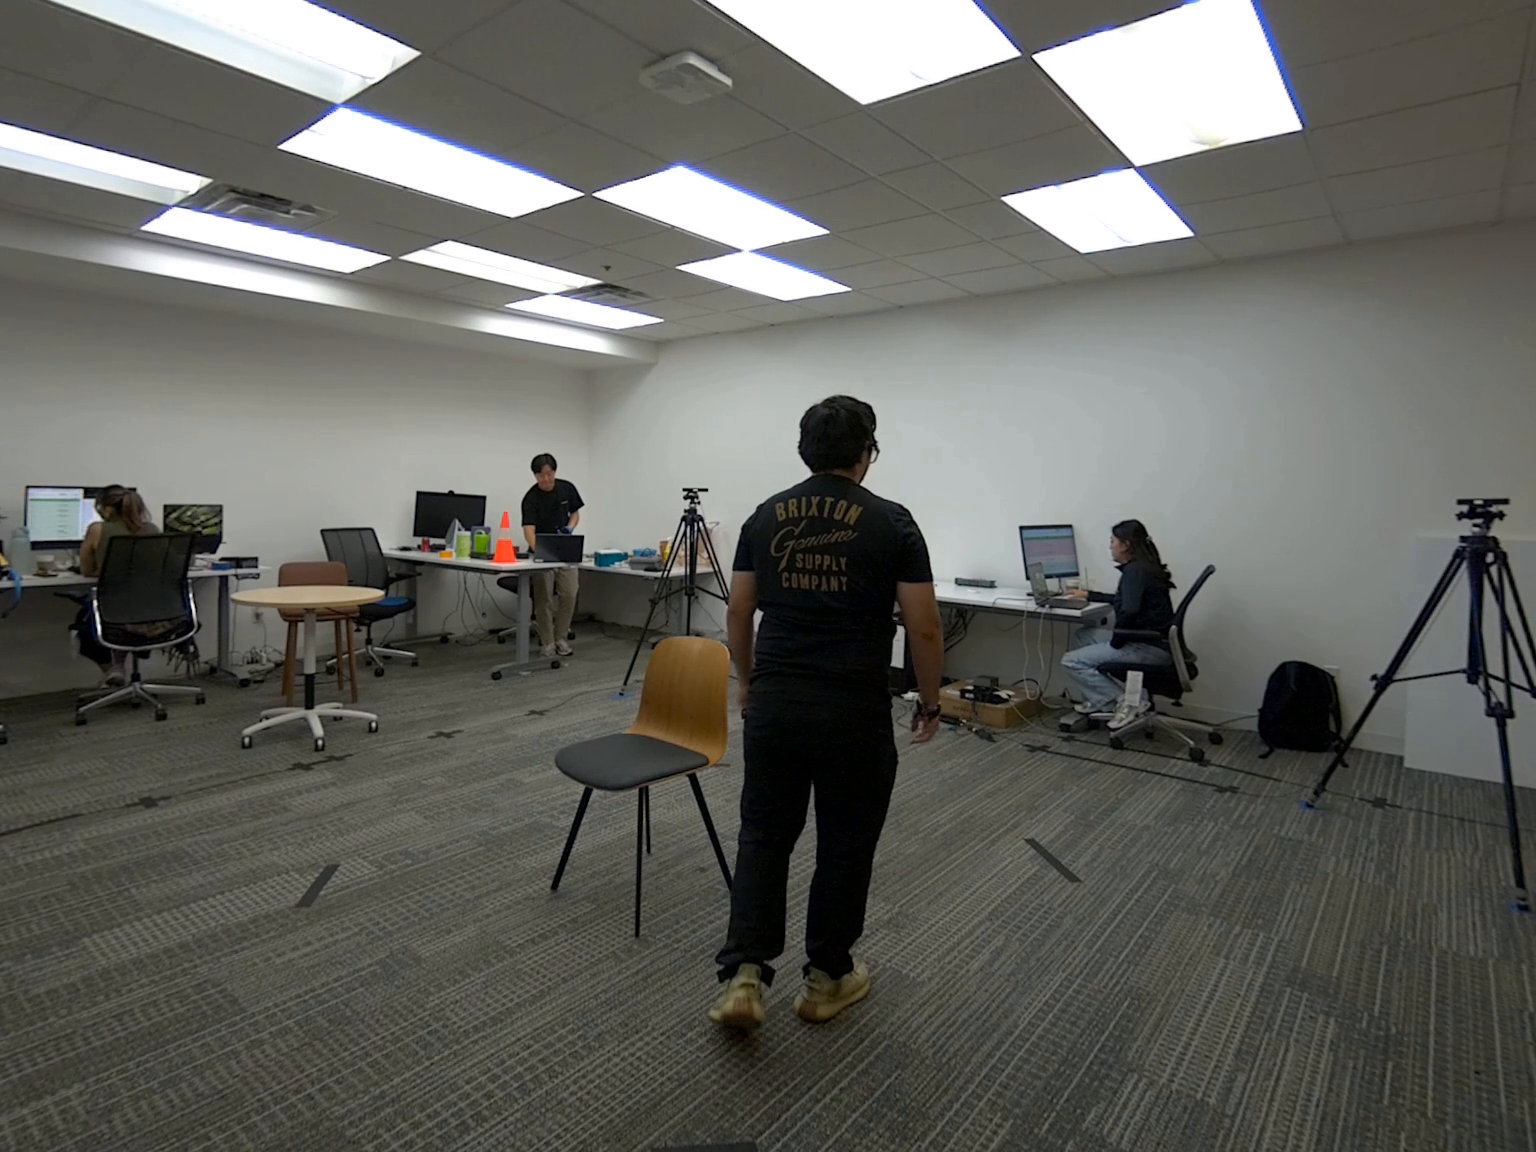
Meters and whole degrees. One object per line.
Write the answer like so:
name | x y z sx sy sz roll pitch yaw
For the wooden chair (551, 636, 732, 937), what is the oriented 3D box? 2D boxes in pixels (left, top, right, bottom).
wooden chair | -0.435 0.659 2.902 0.494 0.877 0.506 5 0 41
